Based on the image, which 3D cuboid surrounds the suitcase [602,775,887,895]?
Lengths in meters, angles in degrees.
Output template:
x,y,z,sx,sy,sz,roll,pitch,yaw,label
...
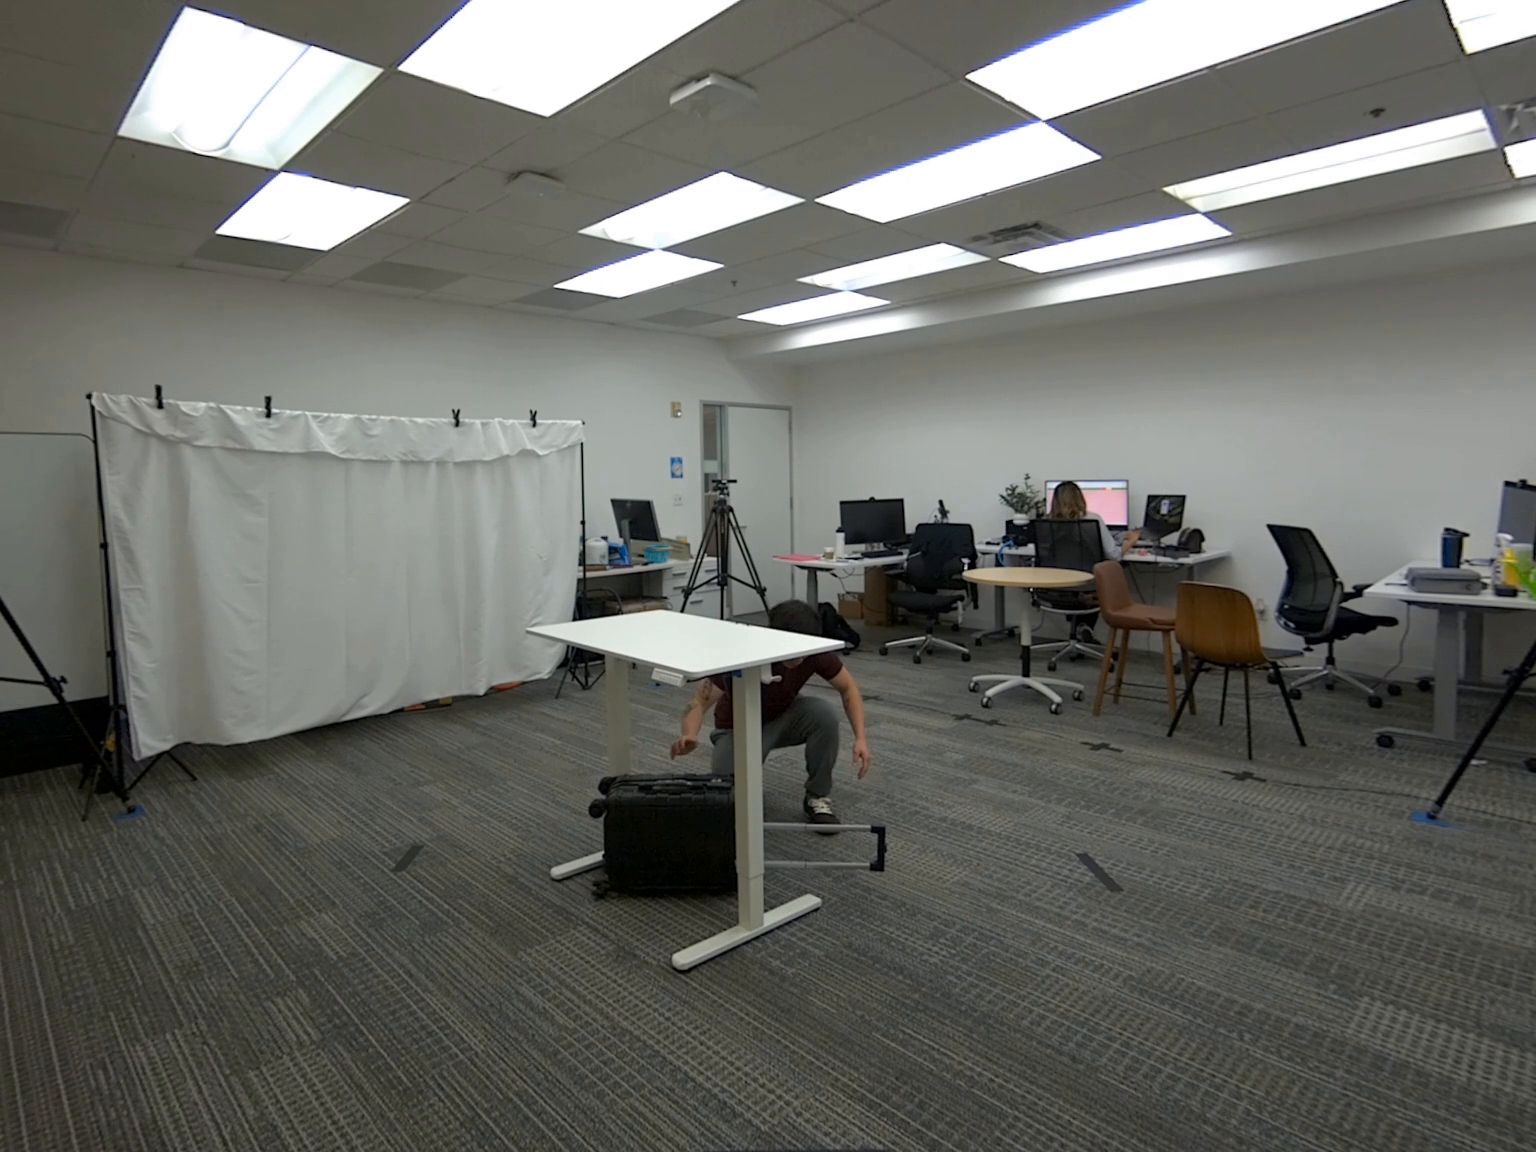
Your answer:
x,y,z,sx,sy,sz,roll,pitch,yaw,label
-0.110,0.877,2.954,0.978,0.382,0.258,-1,5,-1,suitcase
